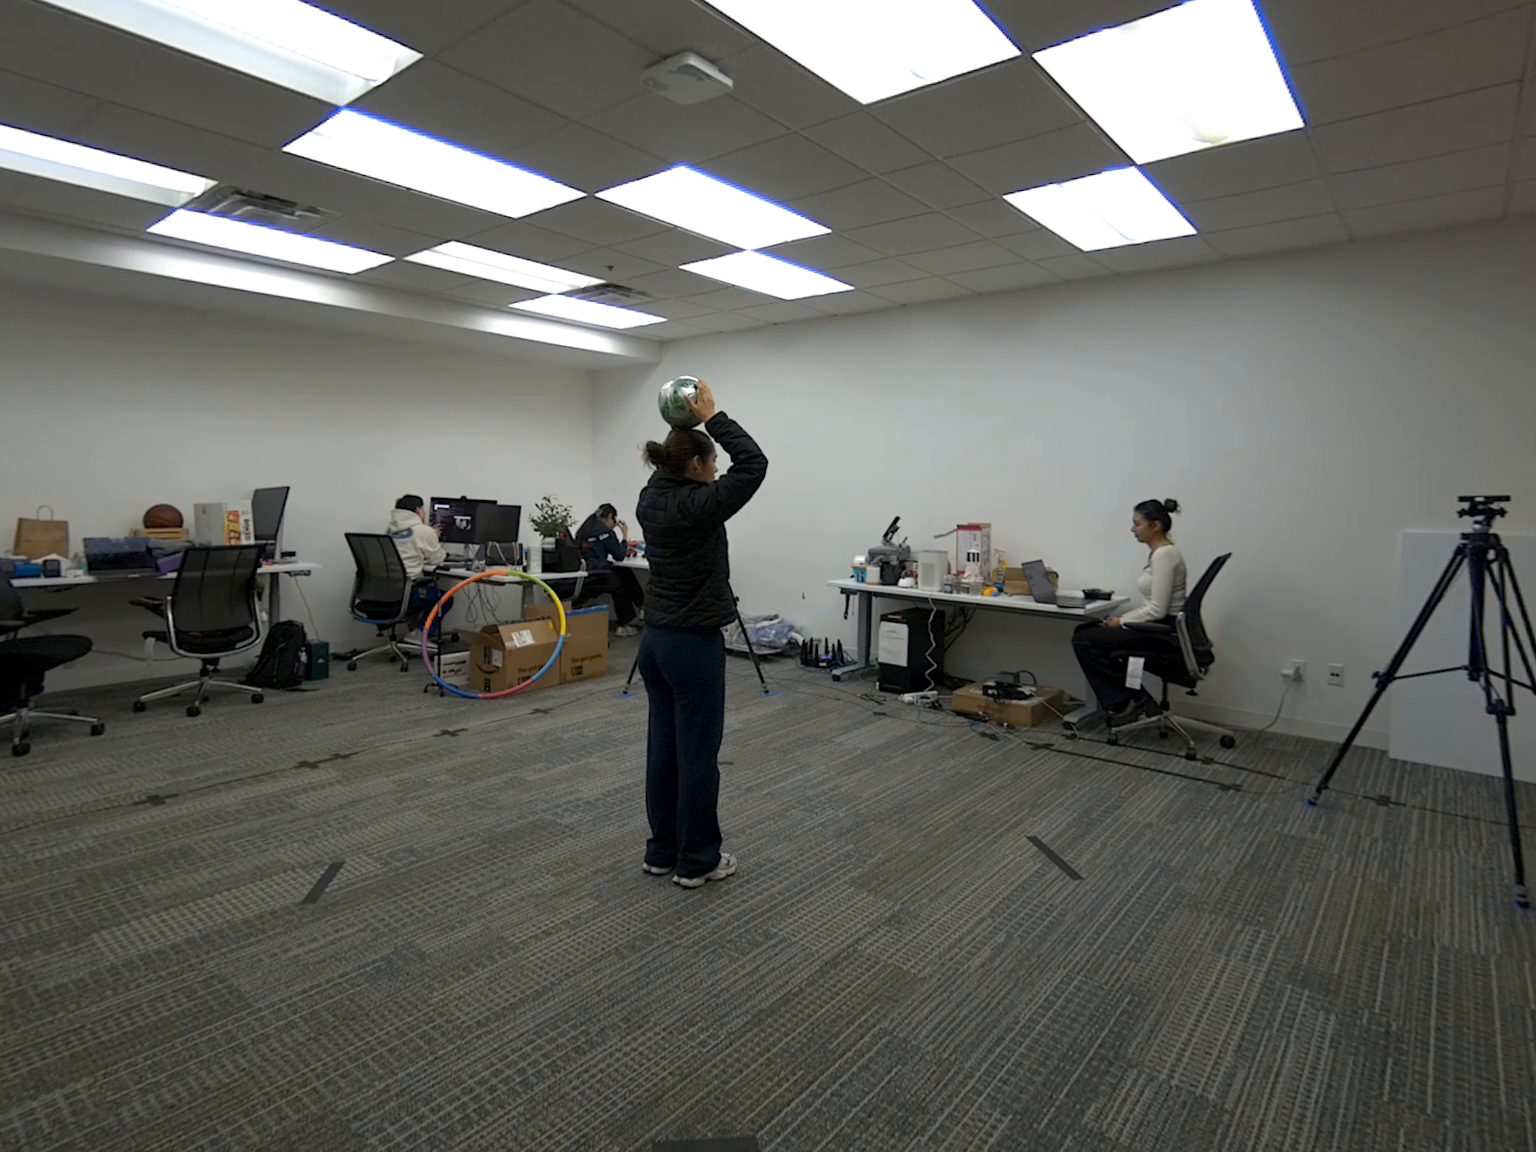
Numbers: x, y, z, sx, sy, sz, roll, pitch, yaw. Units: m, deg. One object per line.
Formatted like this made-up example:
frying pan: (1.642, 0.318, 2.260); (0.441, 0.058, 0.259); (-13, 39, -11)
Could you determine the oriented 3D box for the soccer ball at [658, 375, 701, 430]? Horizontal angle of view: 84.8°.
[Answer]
soccer ball: (-0.300, -0.620, 3.024); (0.187, 0.187, 0.188); (1, 4, -2)
